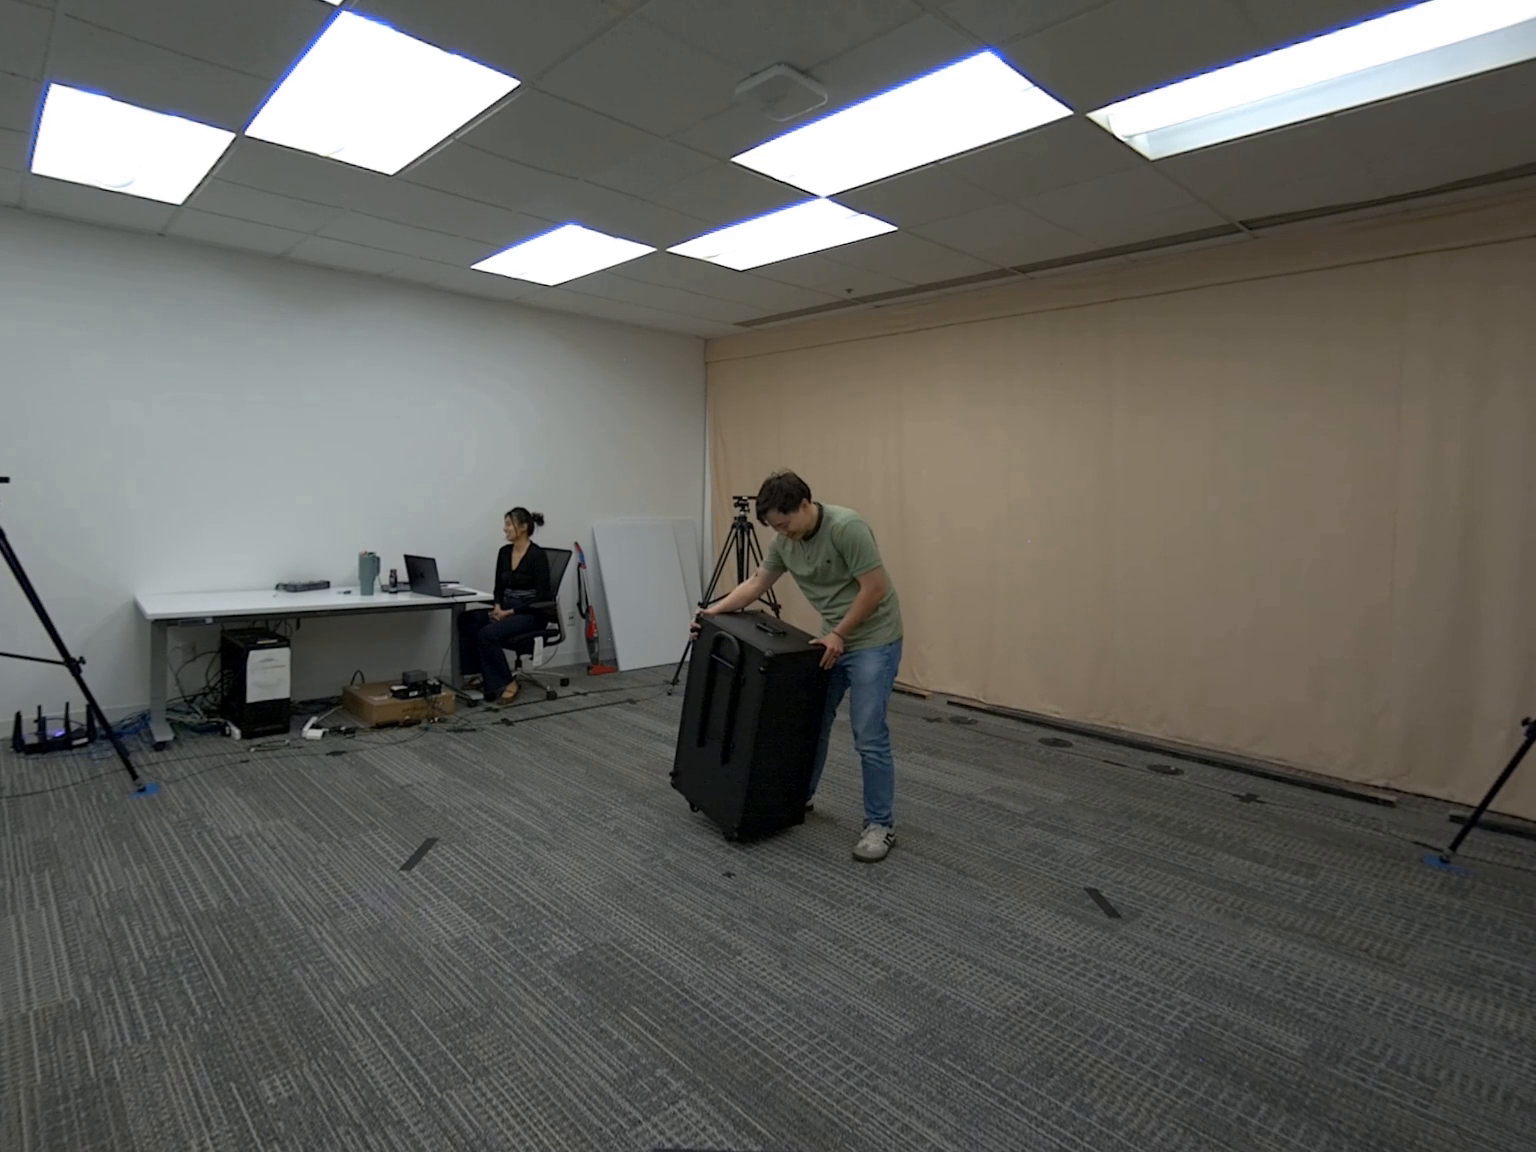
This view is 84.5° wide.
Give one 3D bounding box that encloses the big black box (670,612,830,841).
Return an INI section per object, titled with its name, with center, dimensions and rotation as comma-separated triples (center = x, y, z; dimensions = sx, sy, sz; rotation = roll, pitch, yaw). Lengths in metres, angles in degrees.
[big black box]
center = -0.095, 0.632, 3.487
dimensions = 0.387, 0.855, 0.537
rotation = -1, 16, -39
